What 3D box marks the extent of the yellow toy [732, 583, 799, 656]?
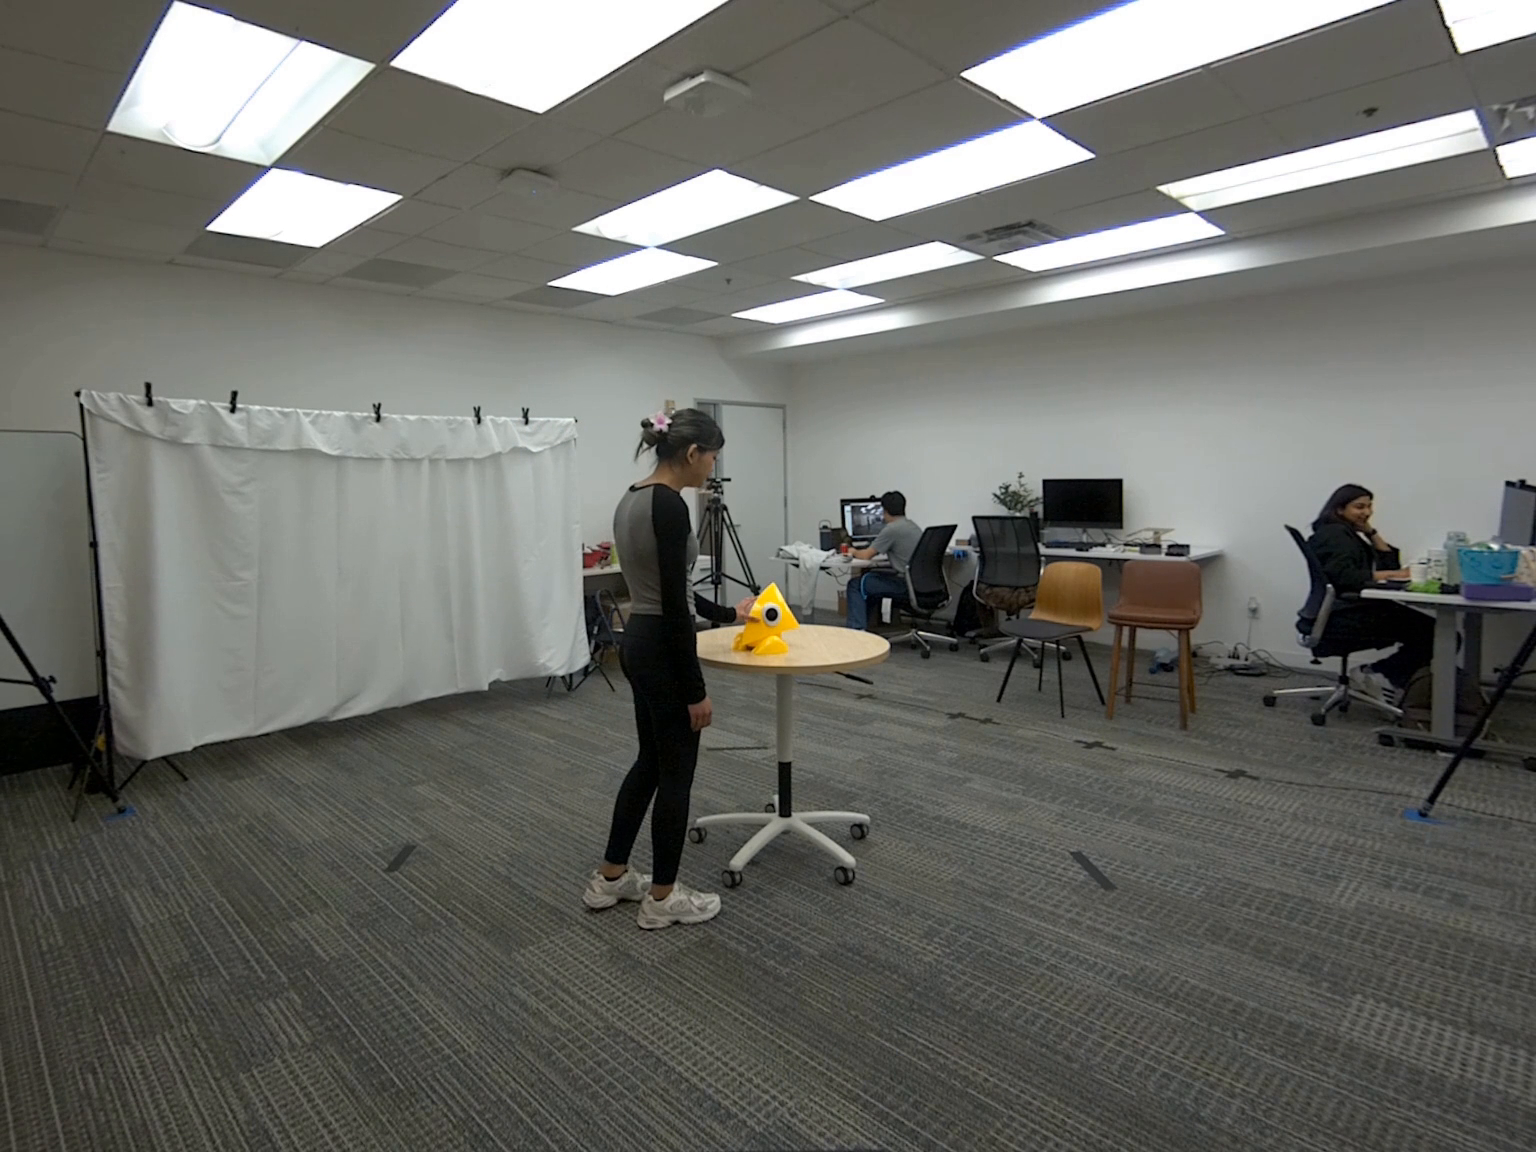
[{"bbox_3d":[-0.019,0.144,3.030,0.188,0.230,0.211,-4,7,-43],"label":"yellow toy"}]
